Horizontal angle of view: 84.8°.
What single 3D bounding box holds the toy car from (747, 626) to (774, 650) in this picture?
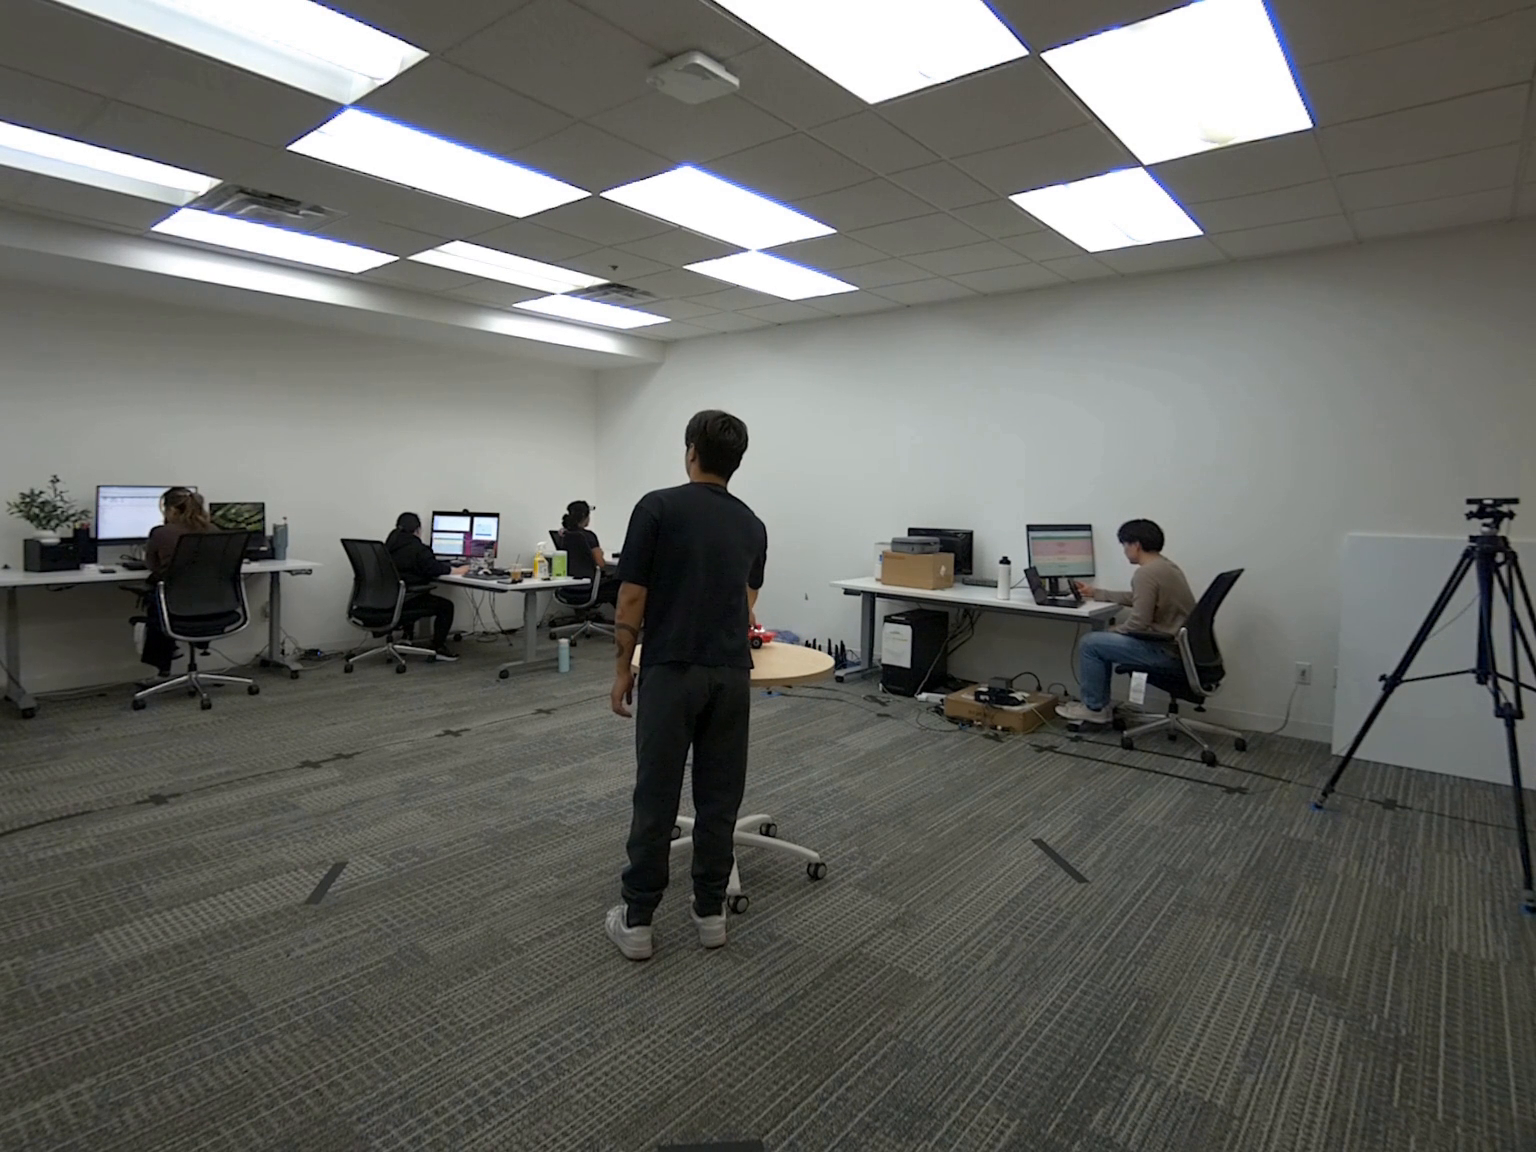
[{"bbox_3d":[-0.102,0.239,3.296,0.255,0.083,0.130,-10,3,2],"label":"toy car"}]
